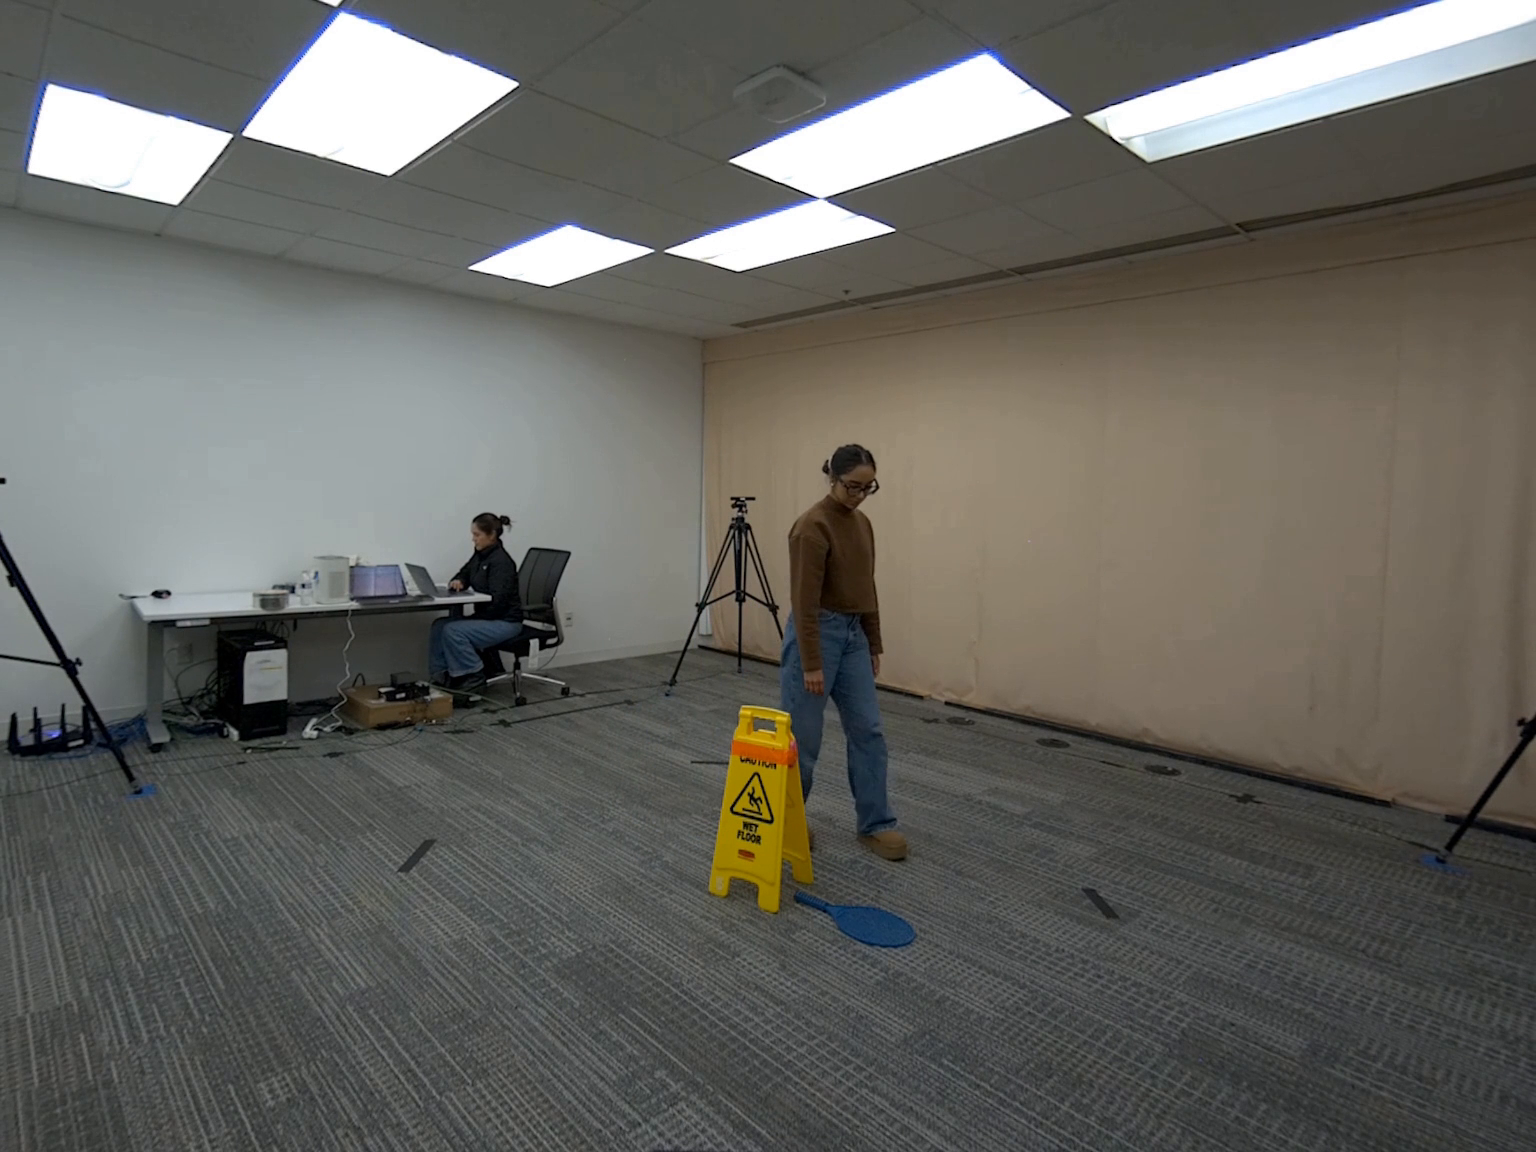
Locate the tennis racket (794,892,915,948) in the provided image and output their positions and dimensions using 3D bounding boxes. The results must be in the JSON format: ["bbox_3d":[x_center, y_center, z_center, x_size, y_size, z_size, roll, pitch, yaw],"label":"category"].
[{"bbox_3d":[0.266,1.131,2.796,0.444,0.031,0.209,7,8,35],"label":"tennis racket"}]
